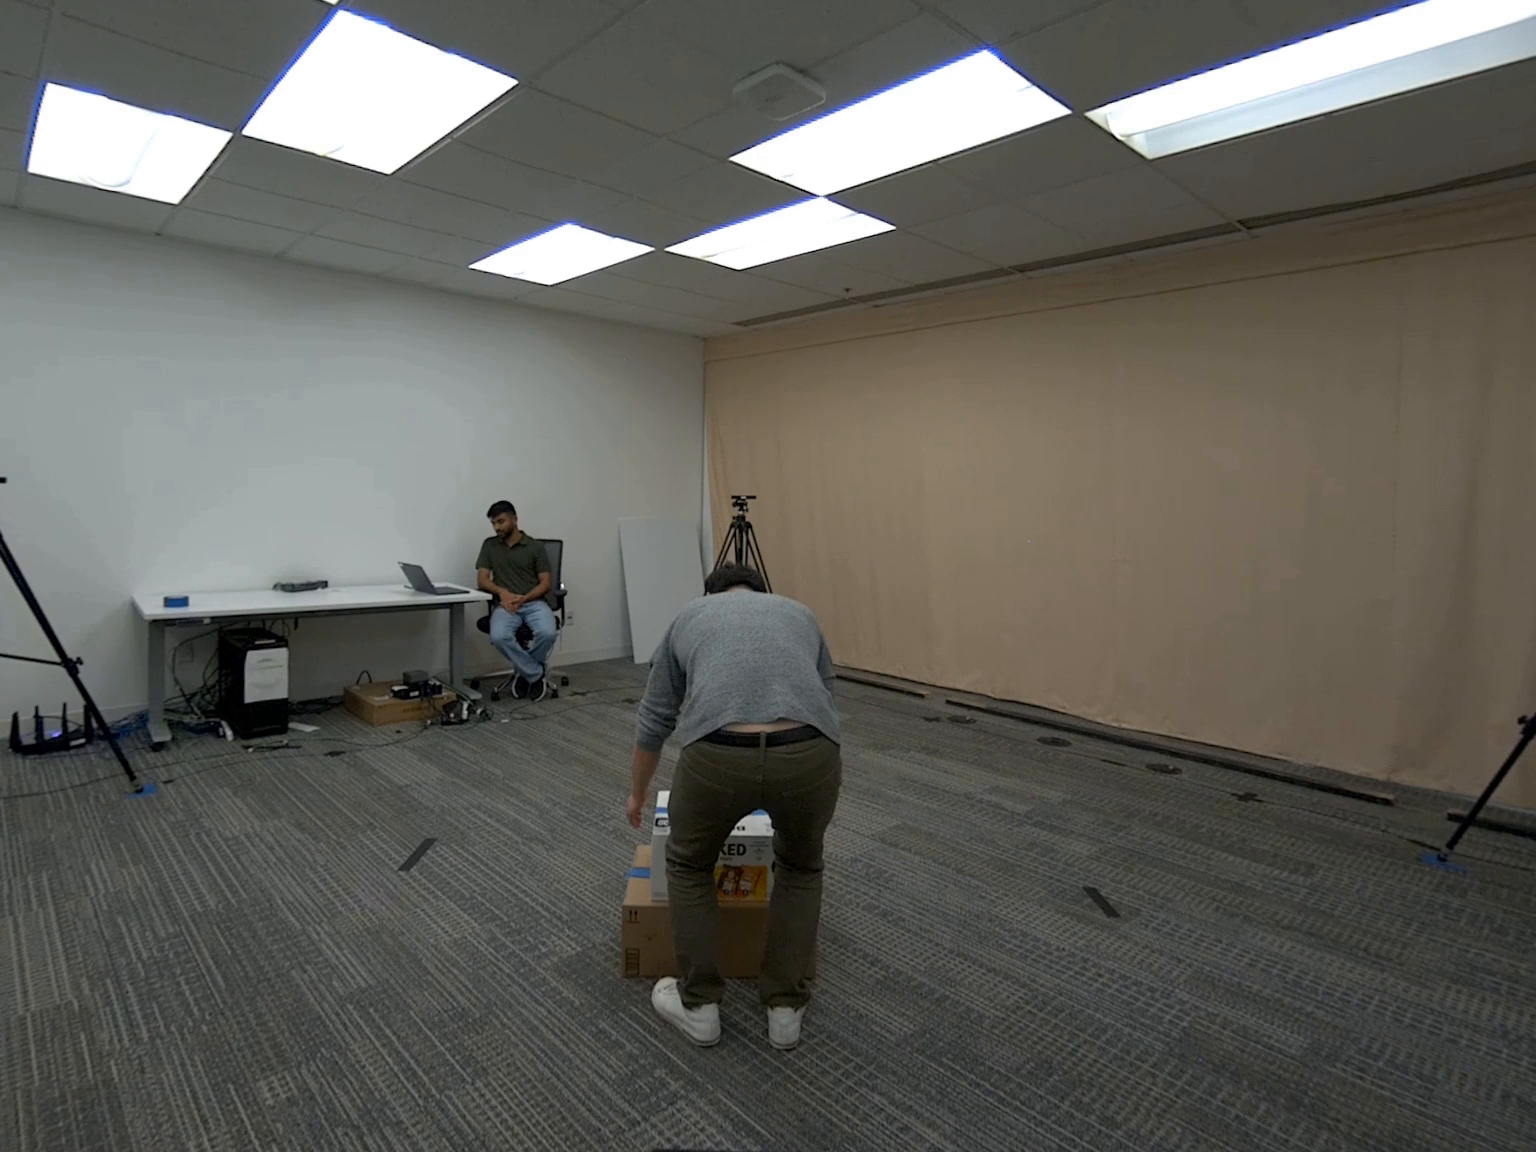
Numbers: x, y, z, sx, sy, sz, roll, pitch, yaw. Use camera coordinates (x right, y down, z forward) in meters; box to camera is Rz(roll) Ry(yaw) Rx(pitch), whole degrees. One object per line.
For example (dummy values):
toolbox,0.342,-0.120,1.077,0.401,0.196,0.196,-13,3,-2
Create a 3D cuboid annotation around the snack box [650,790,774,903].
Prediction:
snack box,-0.154,0.833,2.600,0.404,0.205,0.342,1,5,-4
